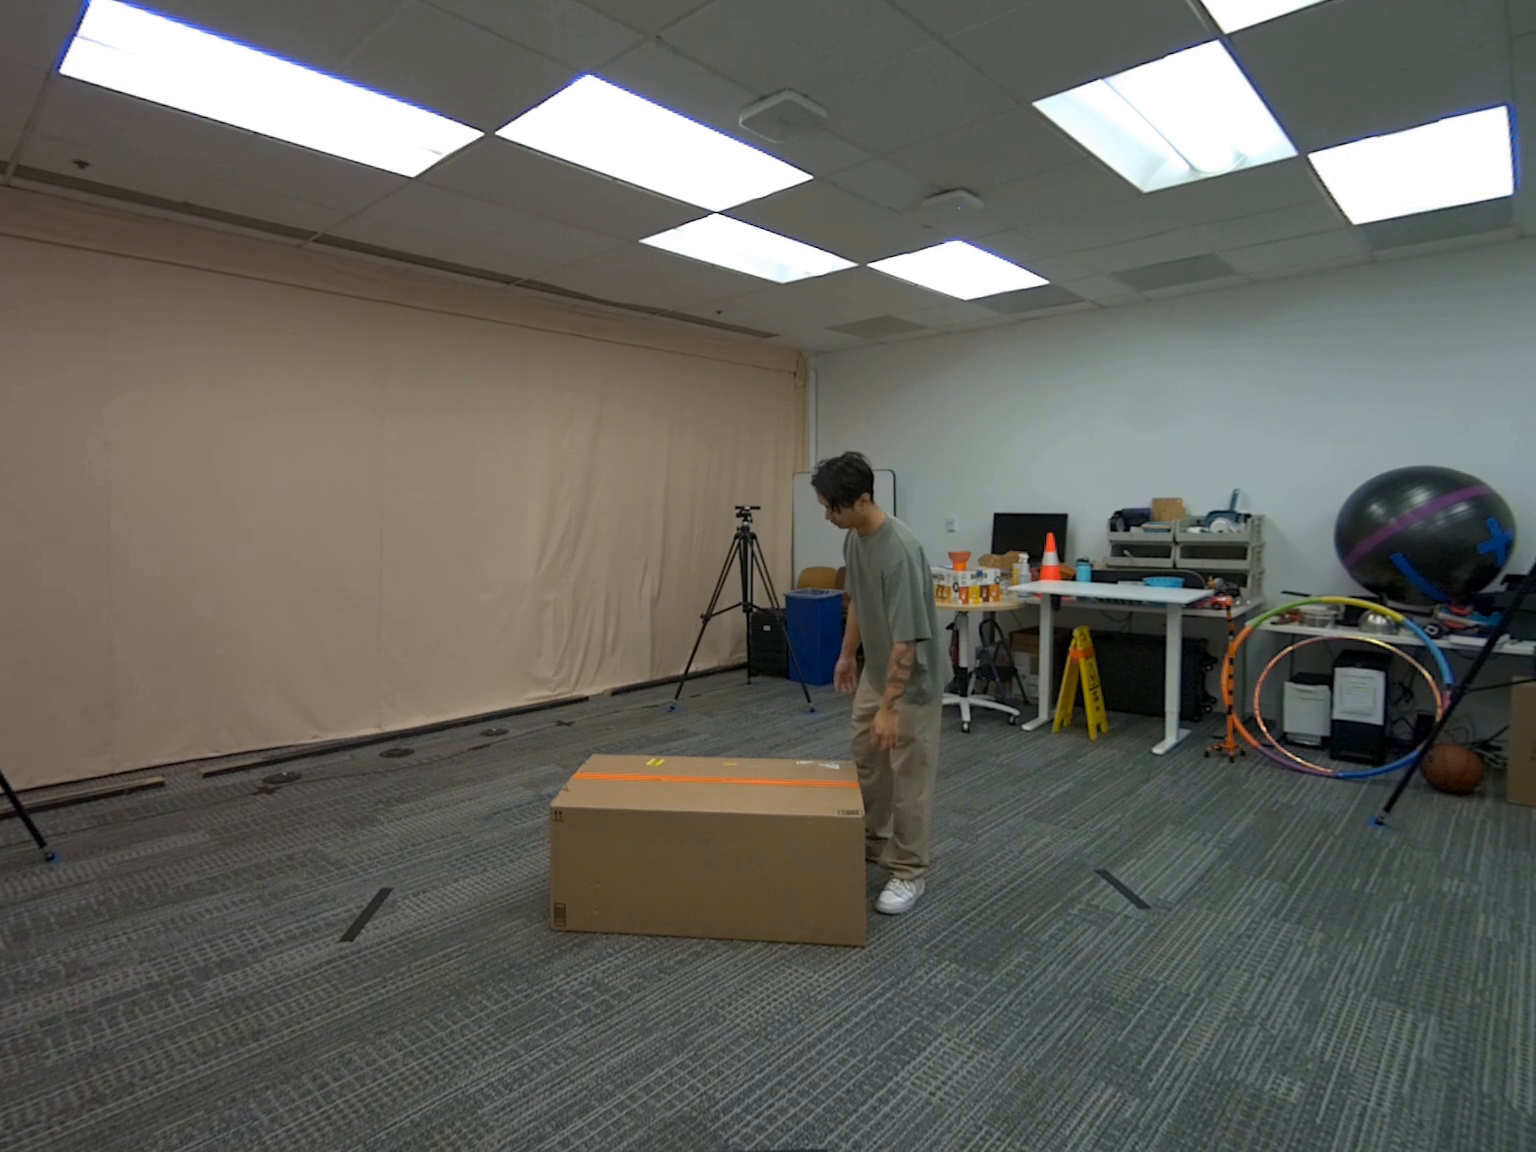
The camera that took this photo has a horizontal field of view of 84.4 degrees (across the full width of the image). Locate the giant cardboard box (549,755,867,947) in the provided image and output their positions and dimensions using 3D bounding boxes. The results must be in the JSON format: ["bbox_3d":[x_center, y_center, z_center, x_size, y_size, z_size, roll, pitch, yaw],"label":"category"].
[{"bbox_3d":[-0.195,0.930,2.977,1.033,0.425,0.575,0,4,5],"label":"giant cardboard box"}]
